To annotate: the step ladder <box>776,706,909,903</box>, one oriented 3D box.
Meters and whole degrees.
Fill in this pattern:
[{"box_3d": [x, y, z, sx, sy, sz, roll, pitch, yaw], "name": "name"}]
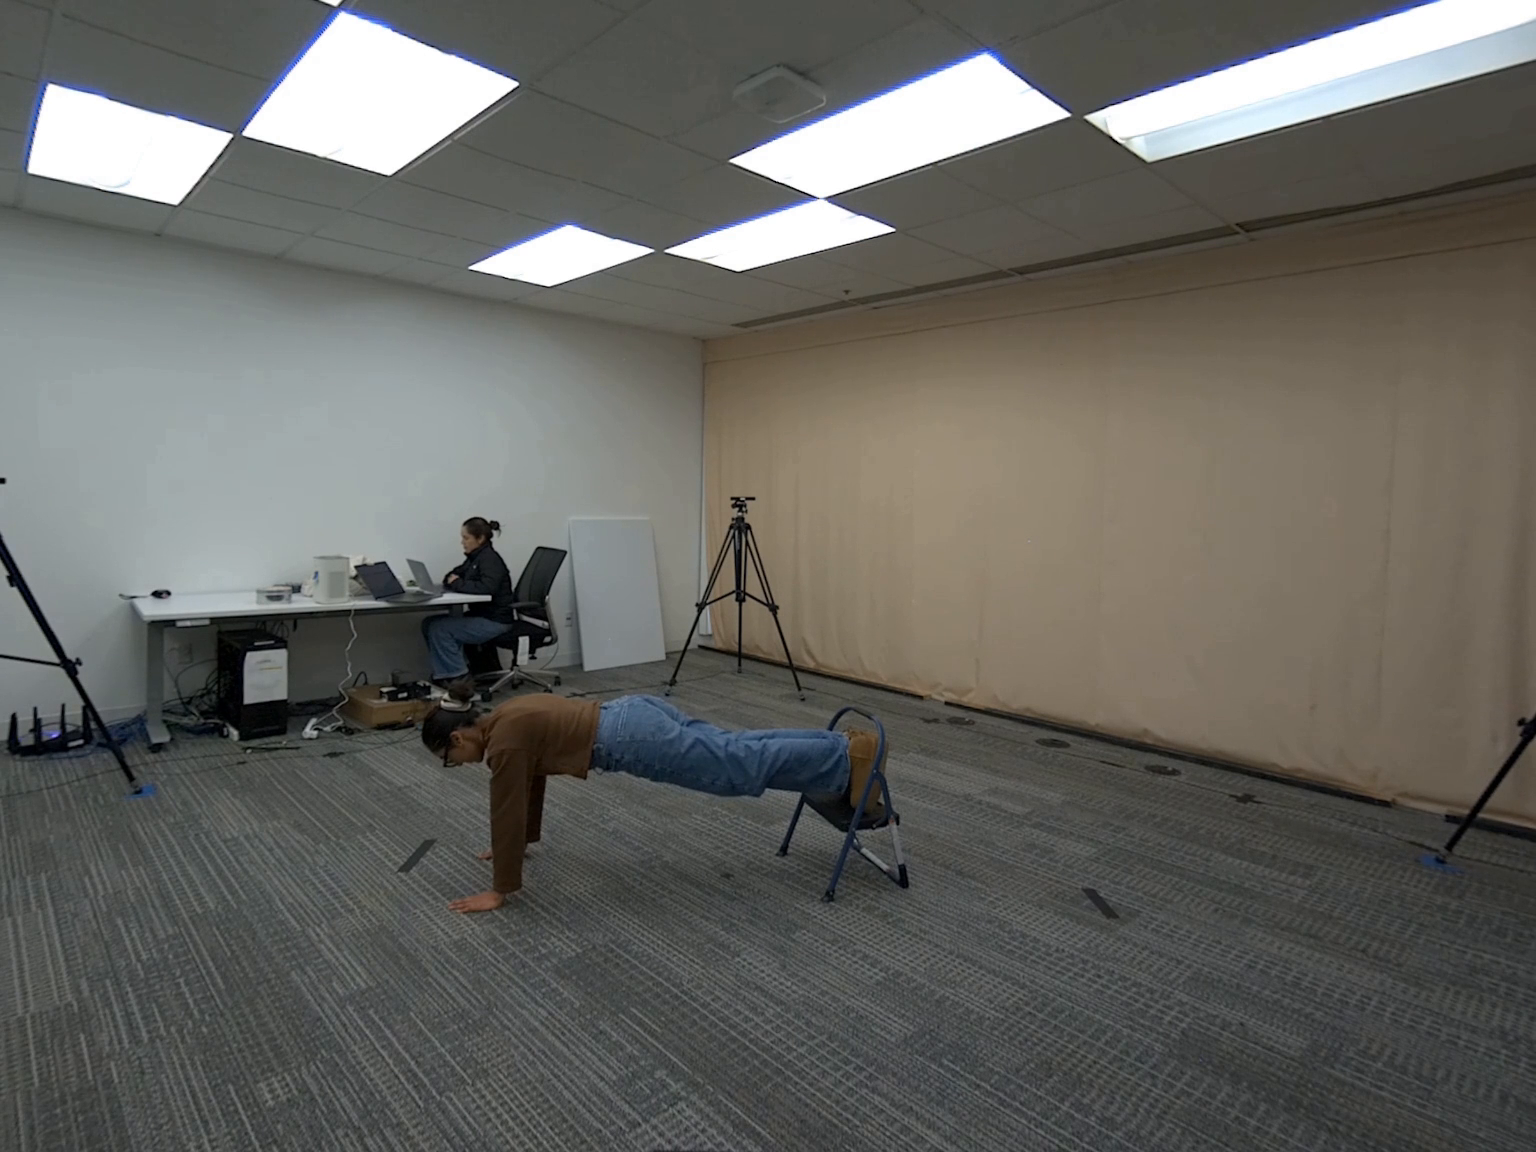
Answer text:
[{"box_3d": [0.276, 0.812, 3.154, 0.343, 0.605, 0.439, 0, 4, -23], "name": "step ladder"}]
